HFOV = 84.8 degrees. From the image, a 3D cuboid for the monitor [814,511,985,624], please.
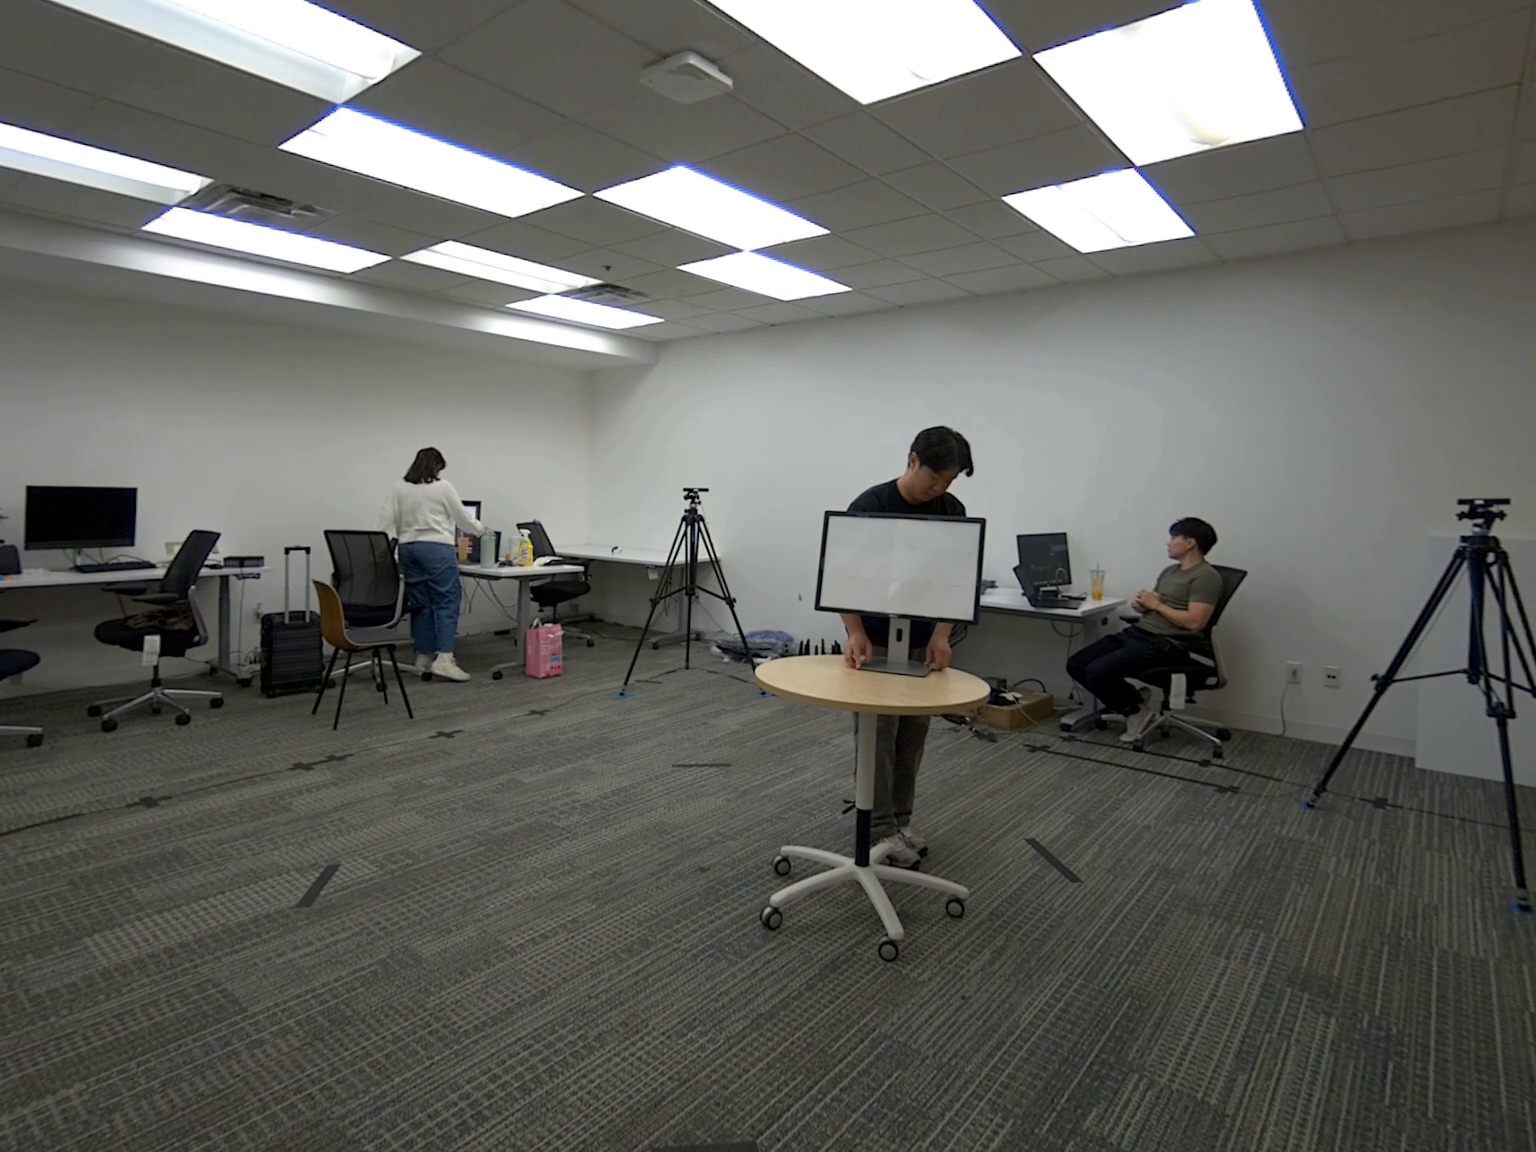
[{"bbox_3d":[0.451,0.059,2.975,0.576,0.563,0.217,4,5,24],"label":"monitor"}]
